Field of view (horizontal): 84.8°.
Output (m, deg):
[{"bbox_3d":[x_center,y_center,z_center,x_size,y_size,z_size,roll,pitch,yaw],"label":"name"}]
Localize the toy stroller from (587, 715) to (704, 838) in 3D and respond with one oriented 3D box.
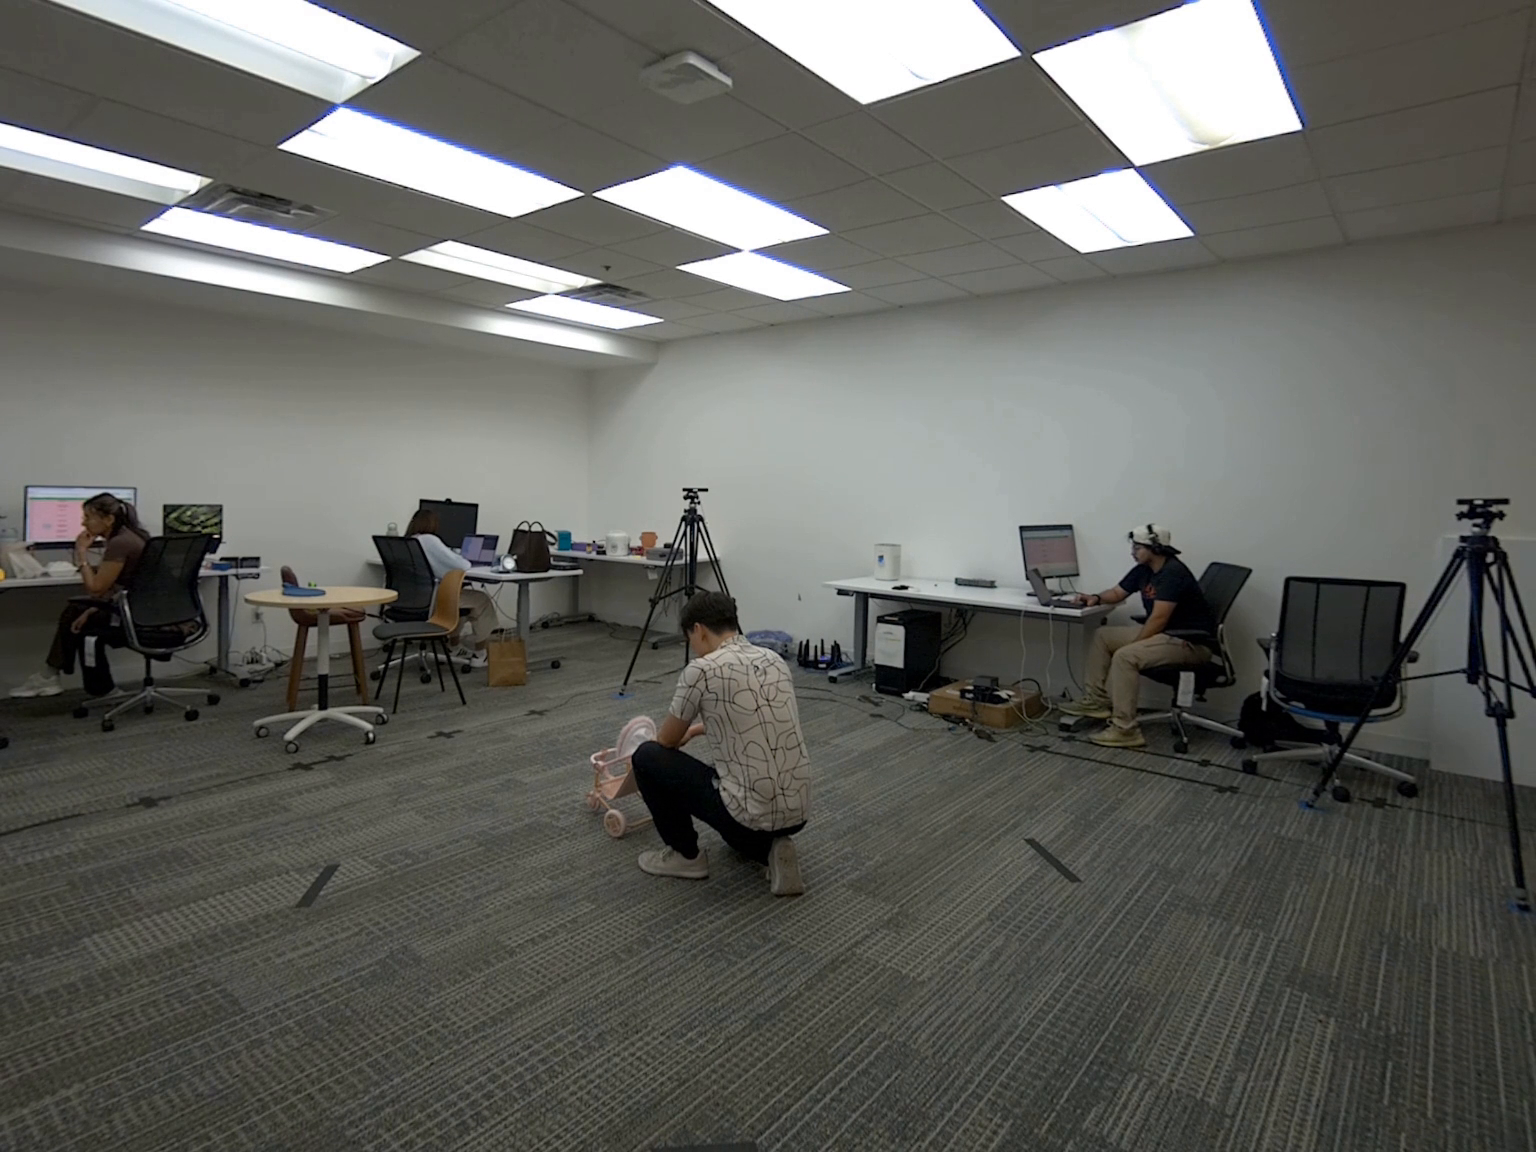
[{"bbox_3d":[-0.583,0.801,3.505,0.355,0.530,0.272,30,19,36],"label":"toy stroller"}]
